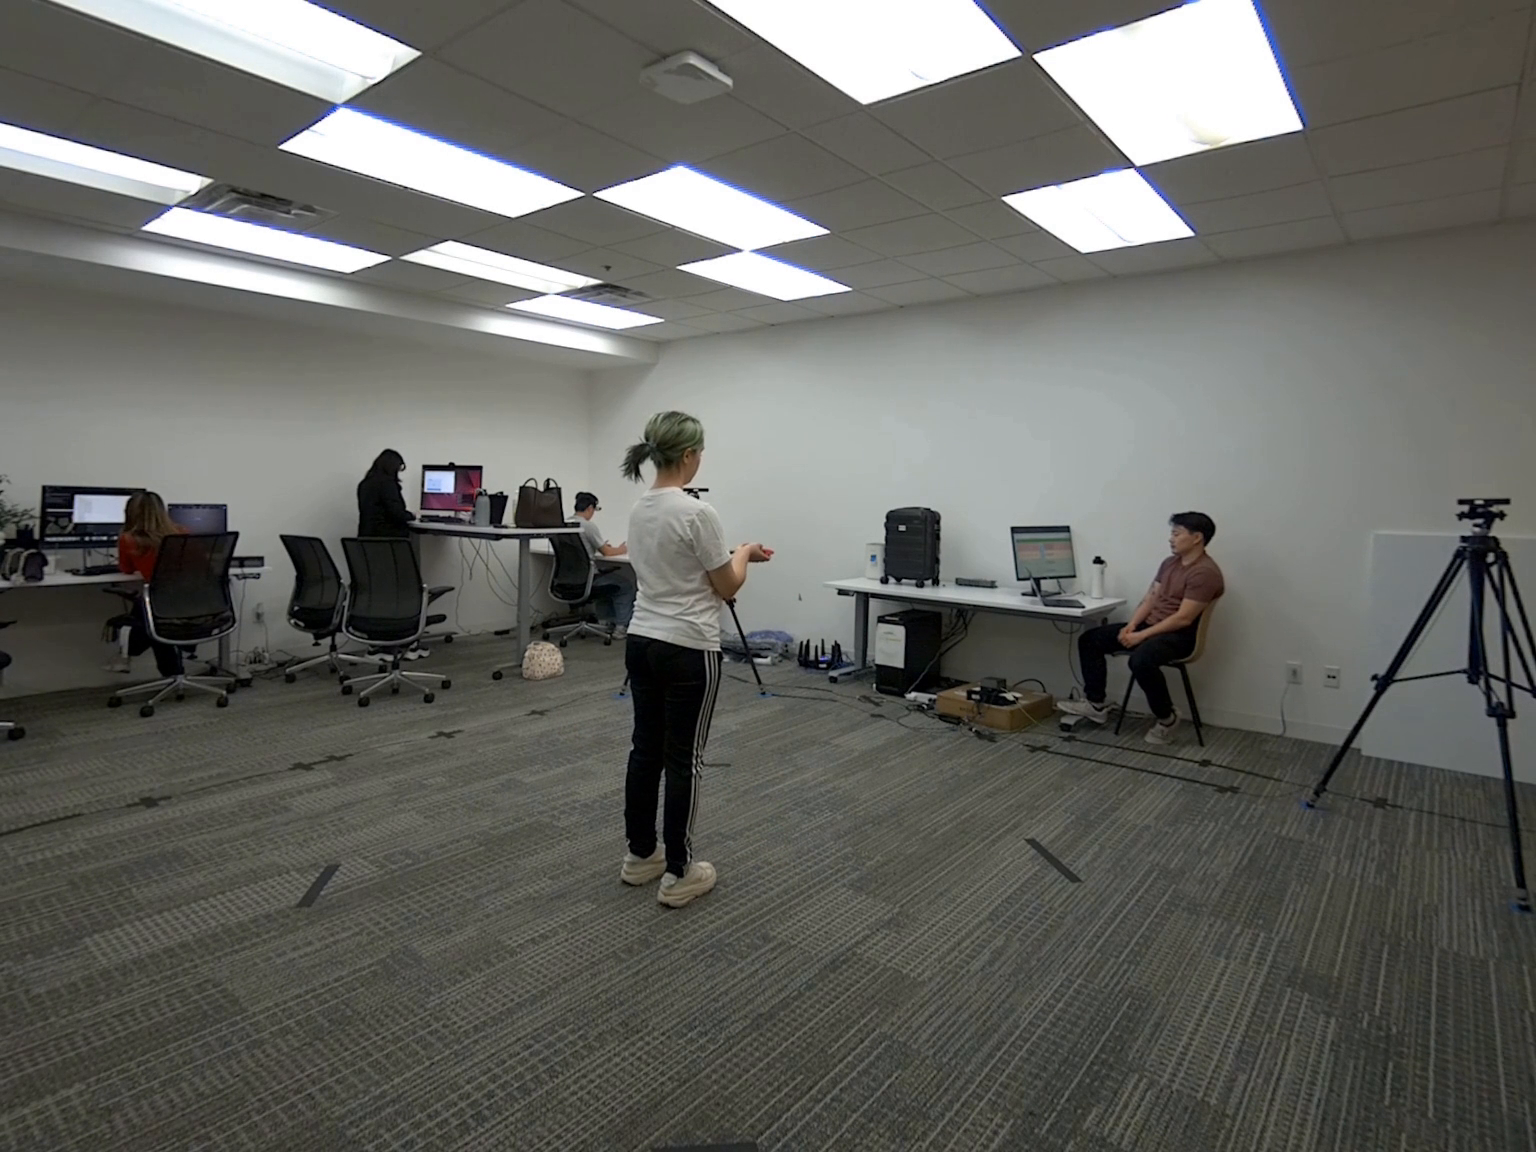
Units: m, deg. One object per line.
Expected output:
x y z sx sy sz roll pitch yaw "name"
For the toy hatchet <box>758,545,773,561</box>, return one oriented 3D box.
-0.113 -0.090 3.257 0.128 0.029 0.277 1 0 -27 "toy hatchet"
